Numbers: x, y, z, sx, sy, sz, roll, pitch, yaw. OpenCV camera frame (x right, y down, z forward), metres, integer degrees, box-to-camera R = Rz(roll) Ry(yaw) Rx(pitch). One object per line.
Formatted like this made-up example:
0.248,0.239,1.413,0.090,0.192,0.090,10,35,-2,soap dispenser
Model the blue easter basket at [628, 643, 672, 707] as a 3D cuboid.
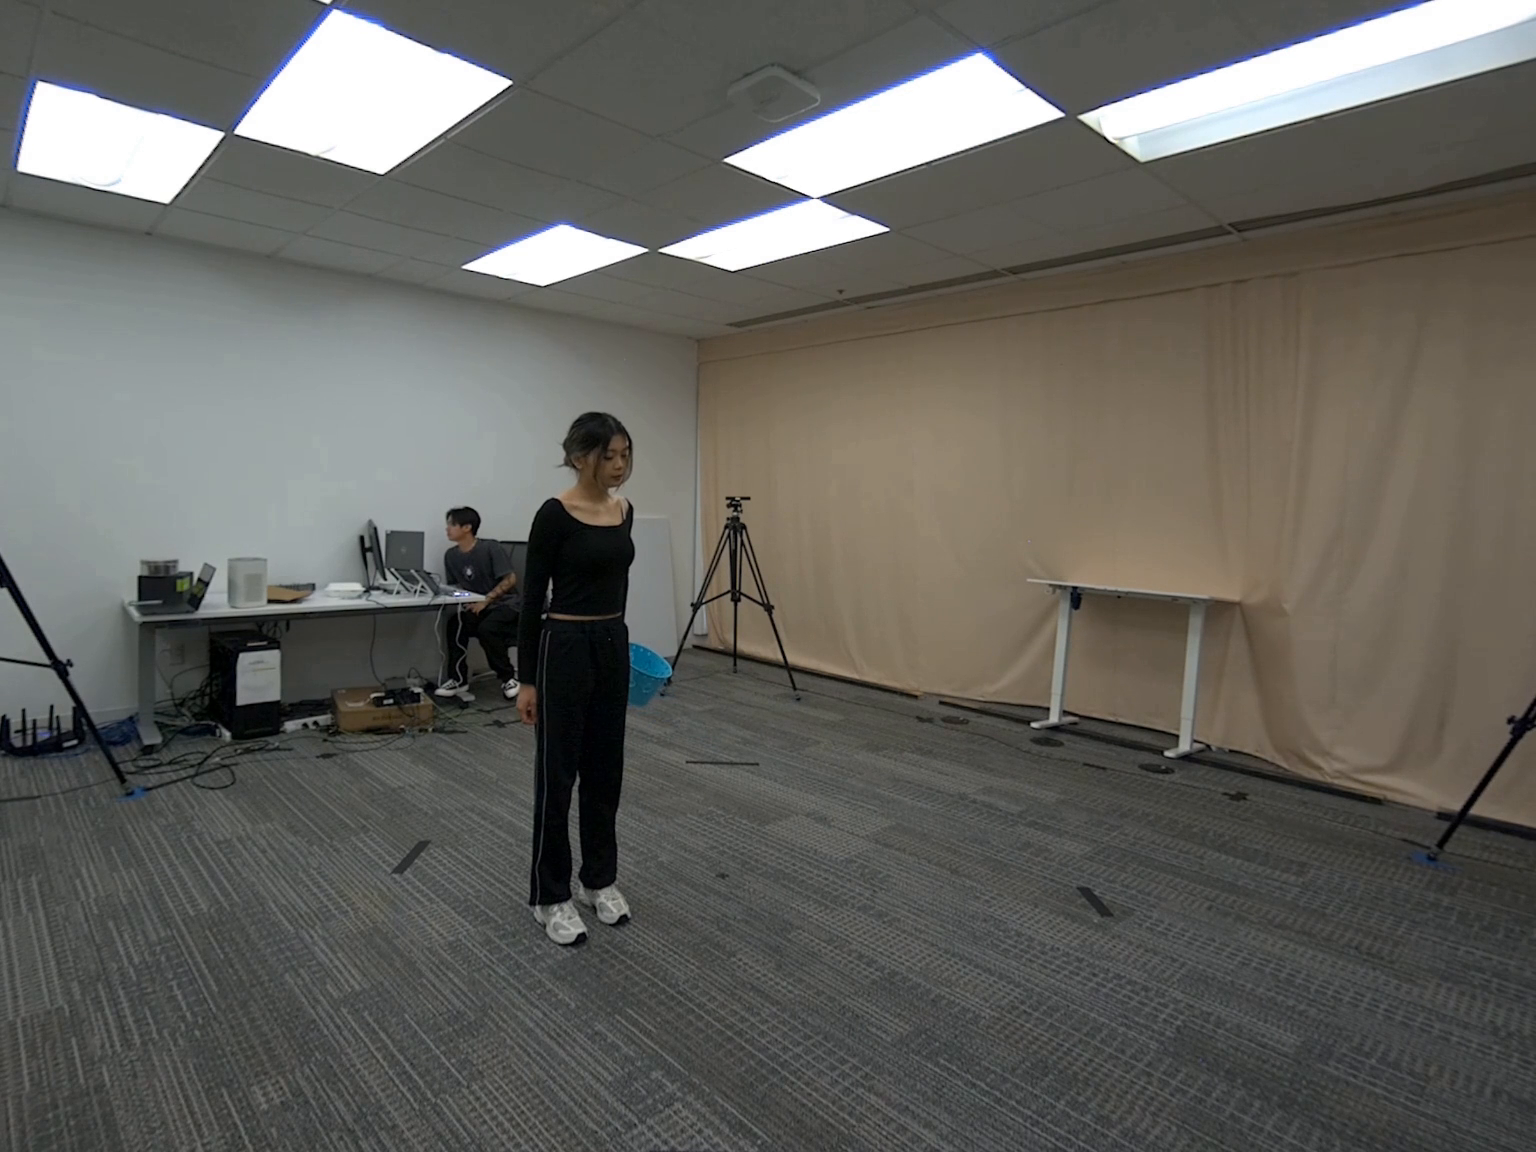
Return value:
-0.493,0.389,3.195,0.241,0.155,0.247,27,15,-9,blue easter basket
